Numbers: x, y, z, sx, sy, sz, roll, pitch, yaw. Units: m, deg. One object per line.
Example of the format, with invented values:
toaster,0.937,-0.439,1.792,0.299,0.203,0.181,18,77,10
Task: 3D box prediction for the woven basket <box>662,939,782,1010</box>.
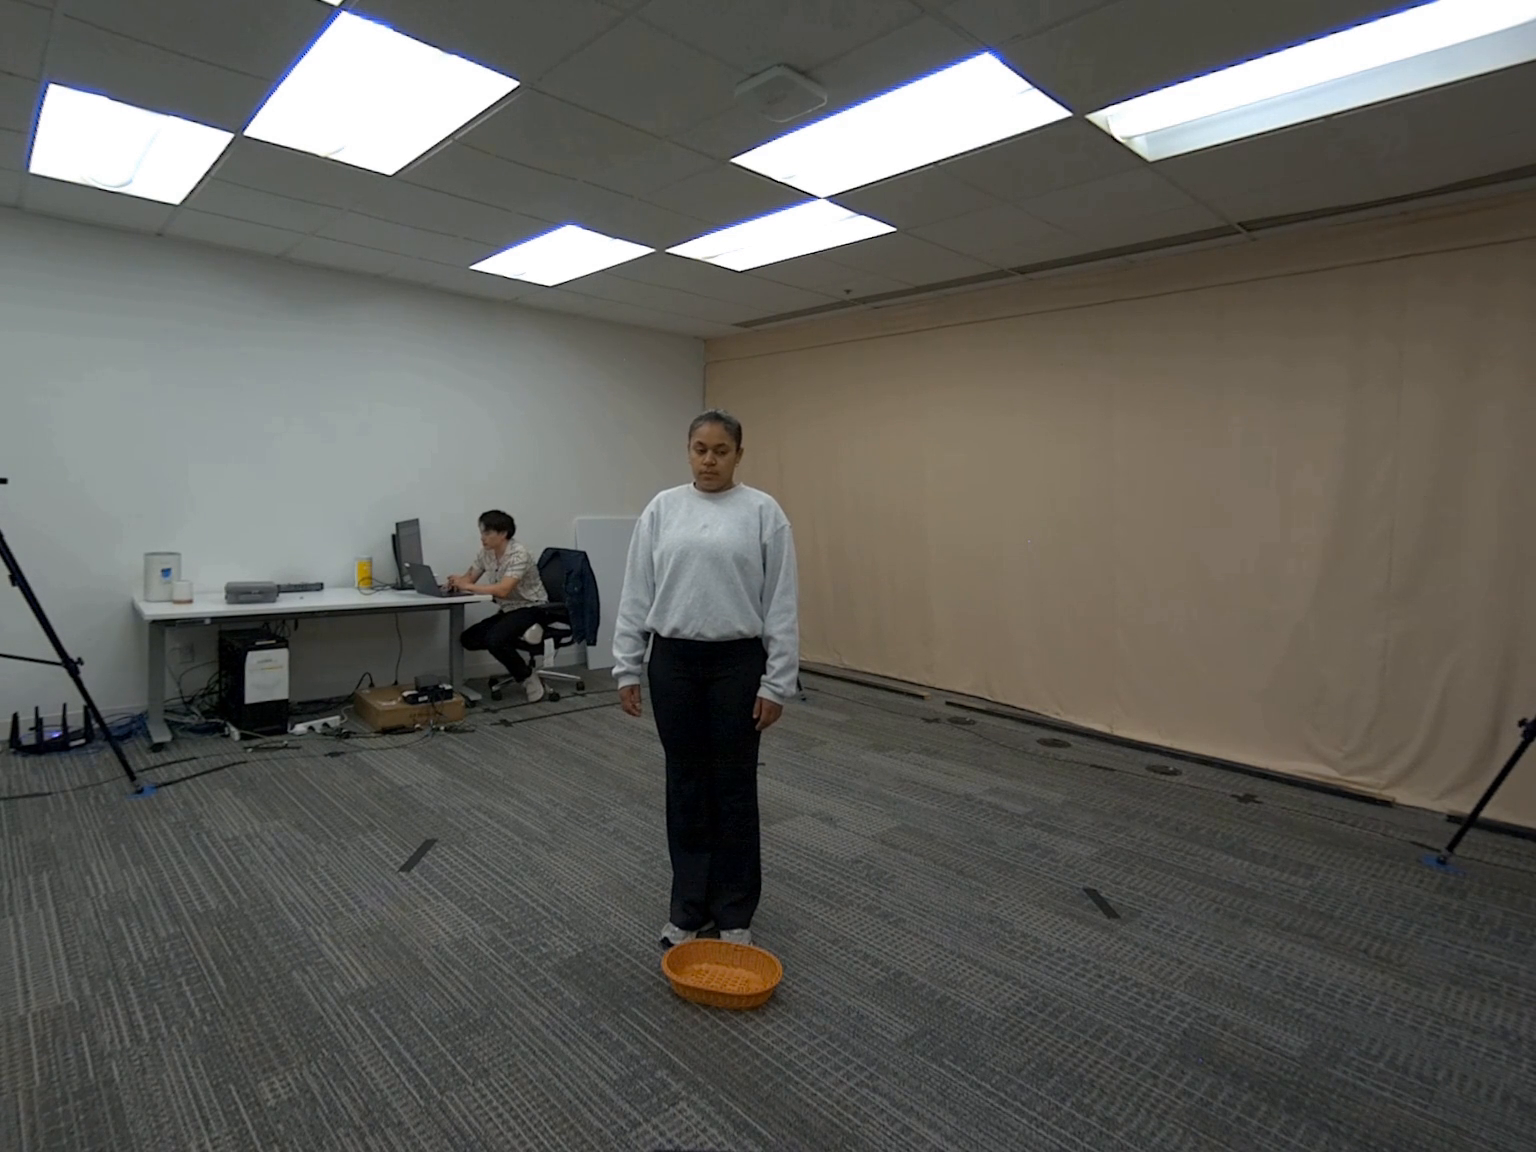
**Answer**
woven basket,-0.146,1.136,2.390,0.355,0.073,0.250,3,6,16
